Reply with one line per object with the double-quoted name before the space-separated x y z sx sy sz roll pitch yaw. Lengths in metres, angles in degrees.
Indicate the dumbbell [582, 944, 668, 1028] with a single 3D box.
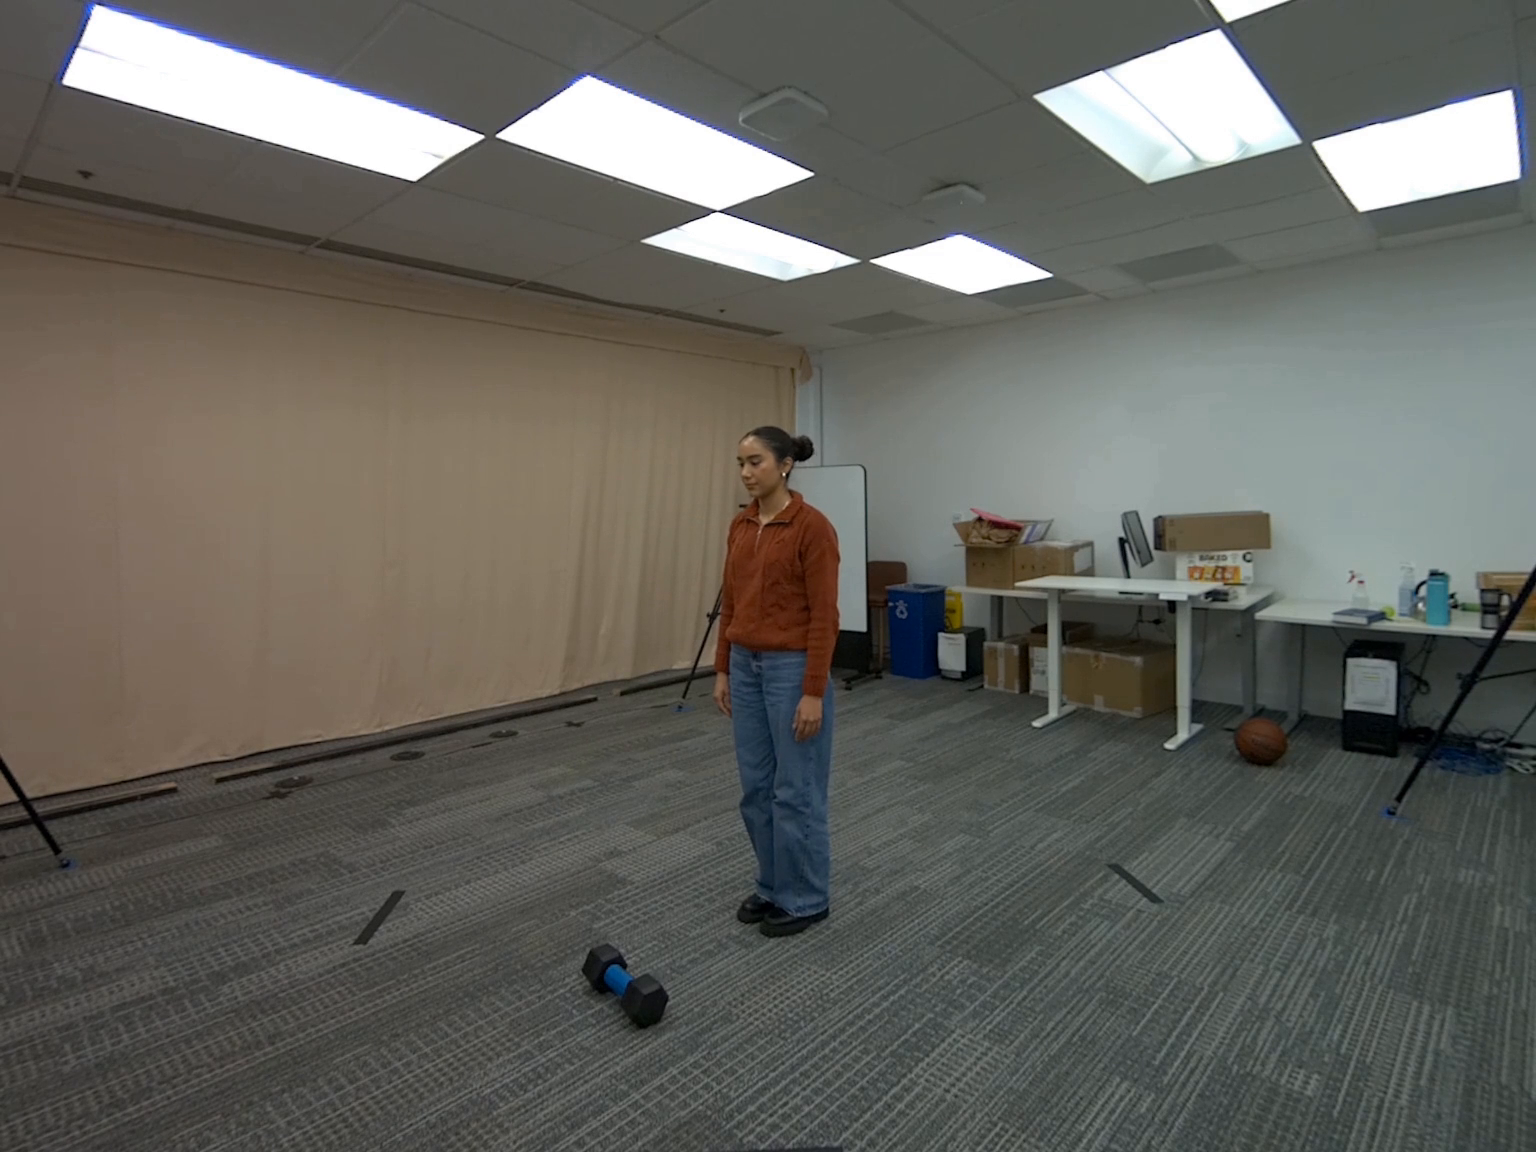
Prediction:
"dumbbell" -0.405 1.149 2.360 0.107 0.120 0.303 -39 26 -31
